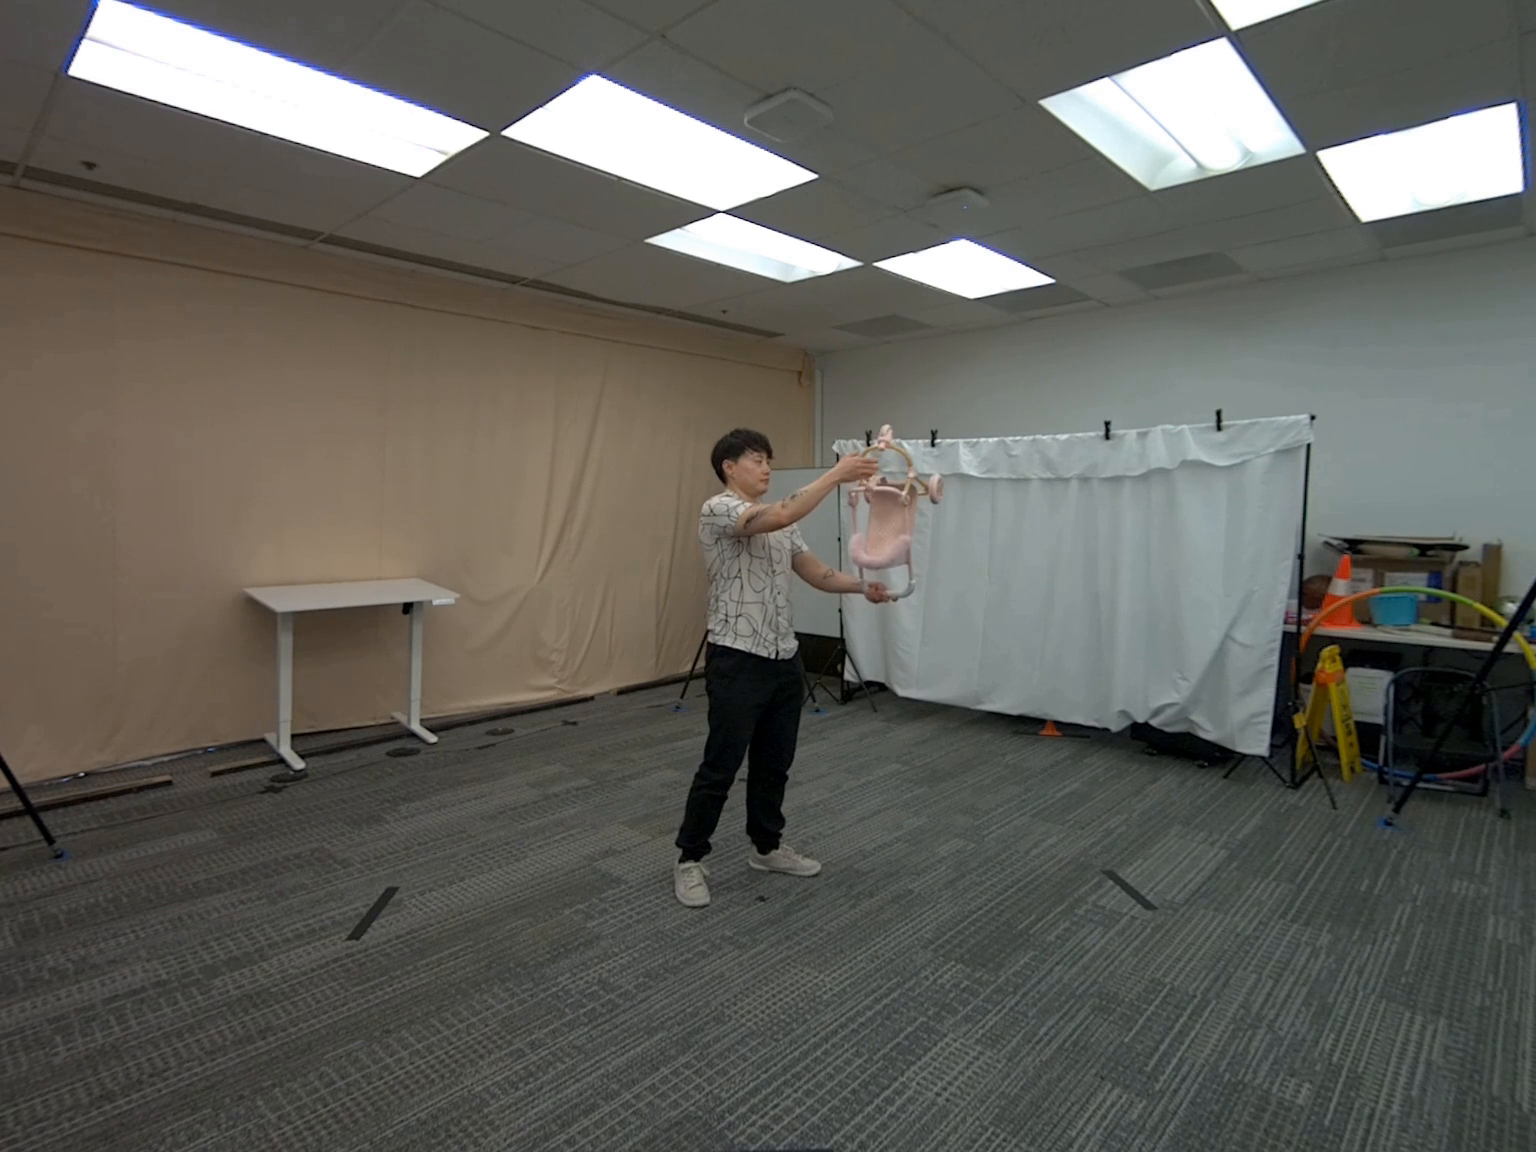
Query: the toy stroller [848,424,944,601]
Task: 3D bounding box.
[{"bbox_3d":[0.417,-0.223,2.953,0.289,0.538,0.330,3,-23,28],"label":"toy stroller"}]
